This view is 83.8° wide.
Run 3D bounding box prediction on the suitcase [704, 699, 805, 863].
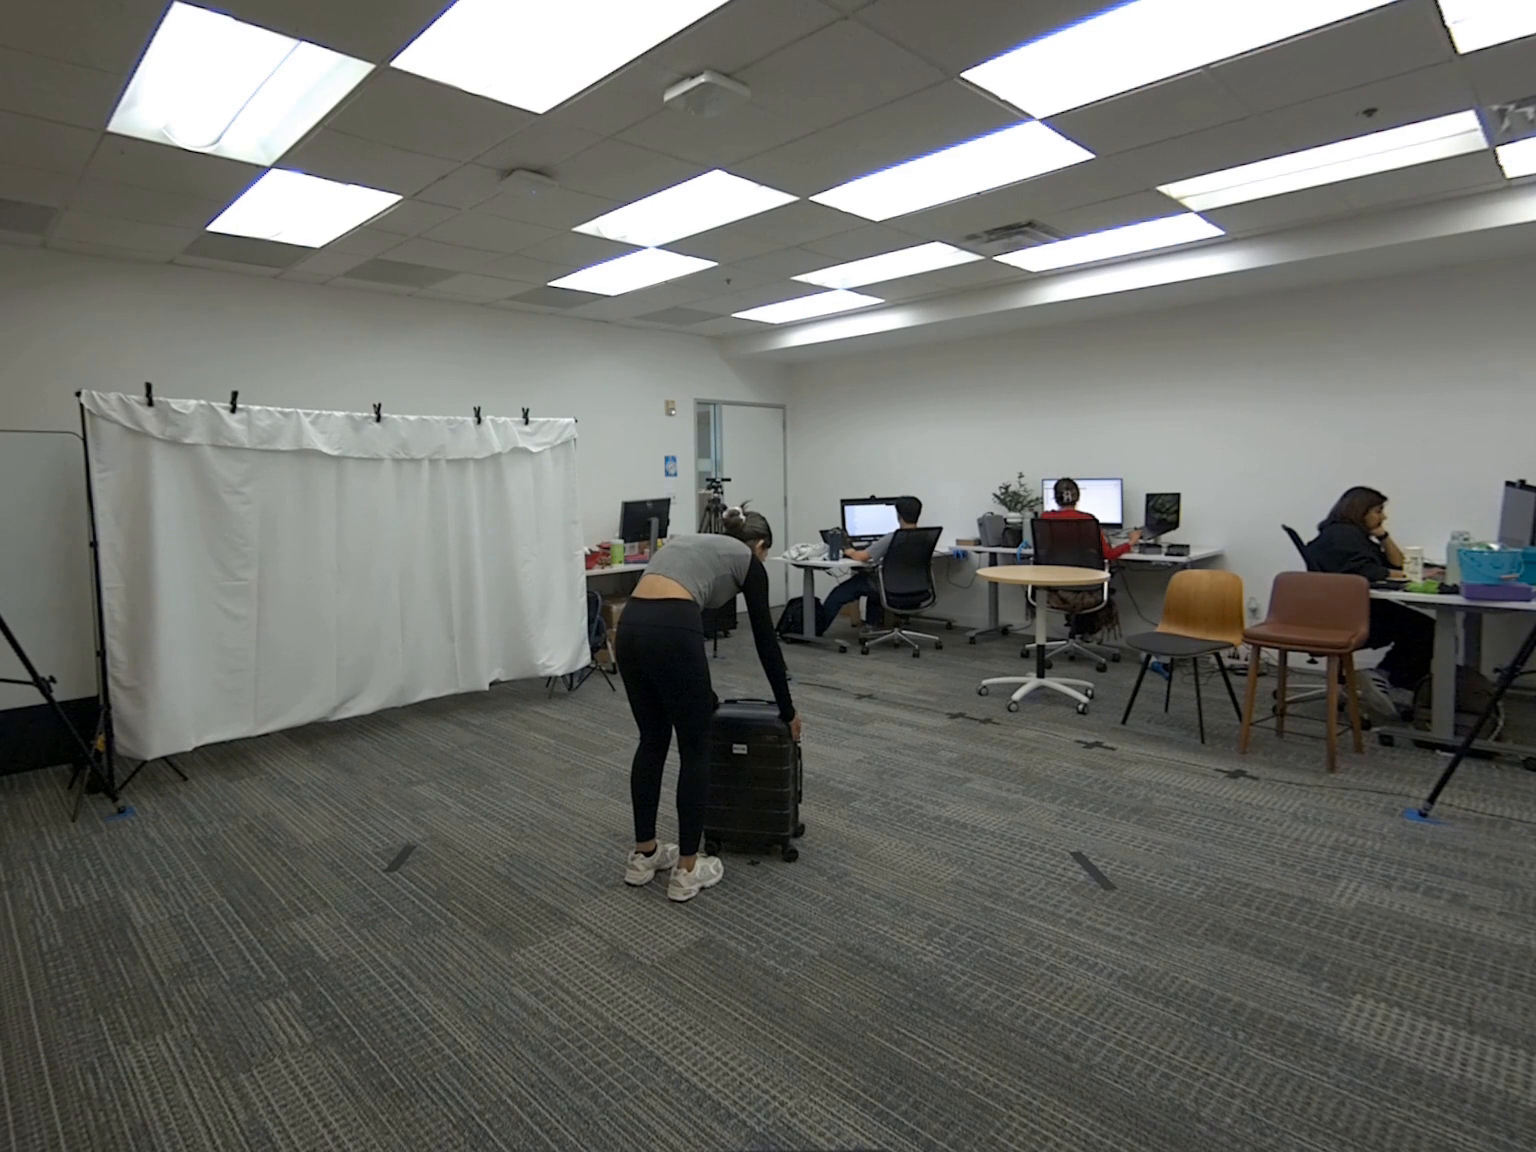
[{"bbox_3d":[-0.057,0.750,3.245,0.381,0.547,0.246,1,5,14],"label":"suitcase"}]
